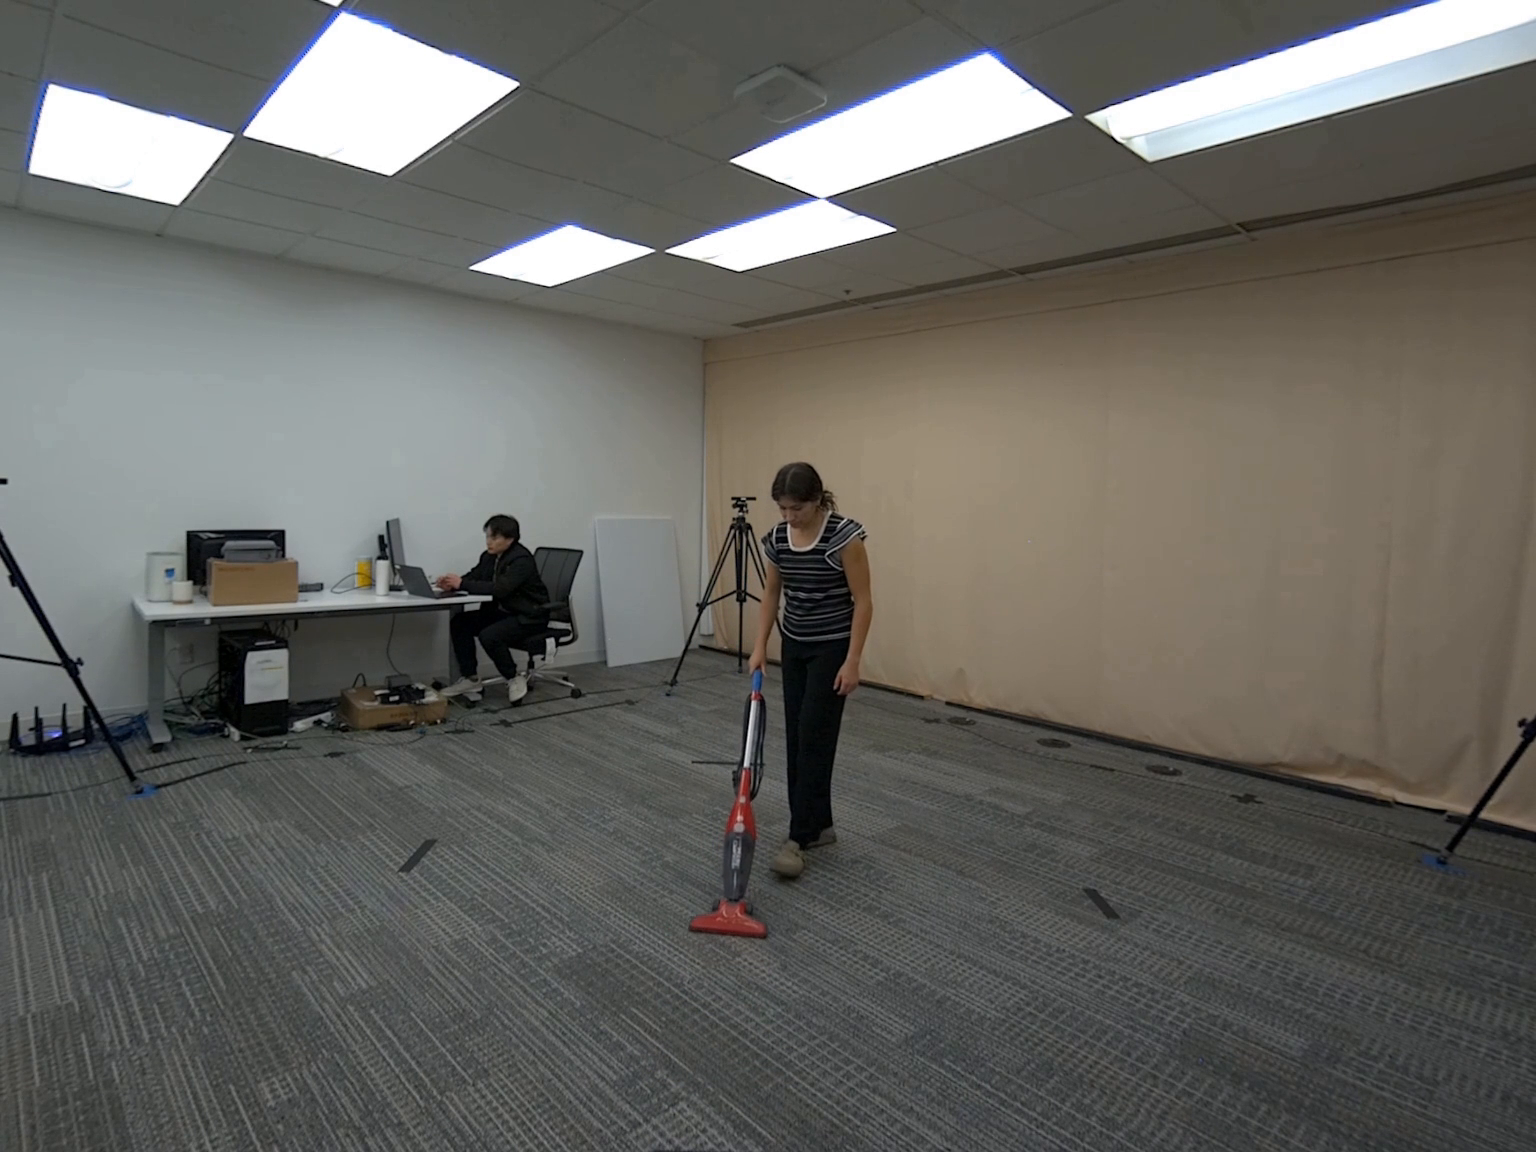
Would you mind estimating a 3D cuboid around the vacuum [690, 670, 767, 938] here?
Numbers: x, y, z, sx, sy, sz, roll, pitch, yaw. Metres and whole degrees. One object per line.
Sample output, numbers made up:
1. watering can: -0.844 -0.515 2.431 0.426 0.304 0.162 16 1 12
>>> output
1. vacuum: -0.084 0.745 3.092 0.254 0.140 1.069 -2 46 9
